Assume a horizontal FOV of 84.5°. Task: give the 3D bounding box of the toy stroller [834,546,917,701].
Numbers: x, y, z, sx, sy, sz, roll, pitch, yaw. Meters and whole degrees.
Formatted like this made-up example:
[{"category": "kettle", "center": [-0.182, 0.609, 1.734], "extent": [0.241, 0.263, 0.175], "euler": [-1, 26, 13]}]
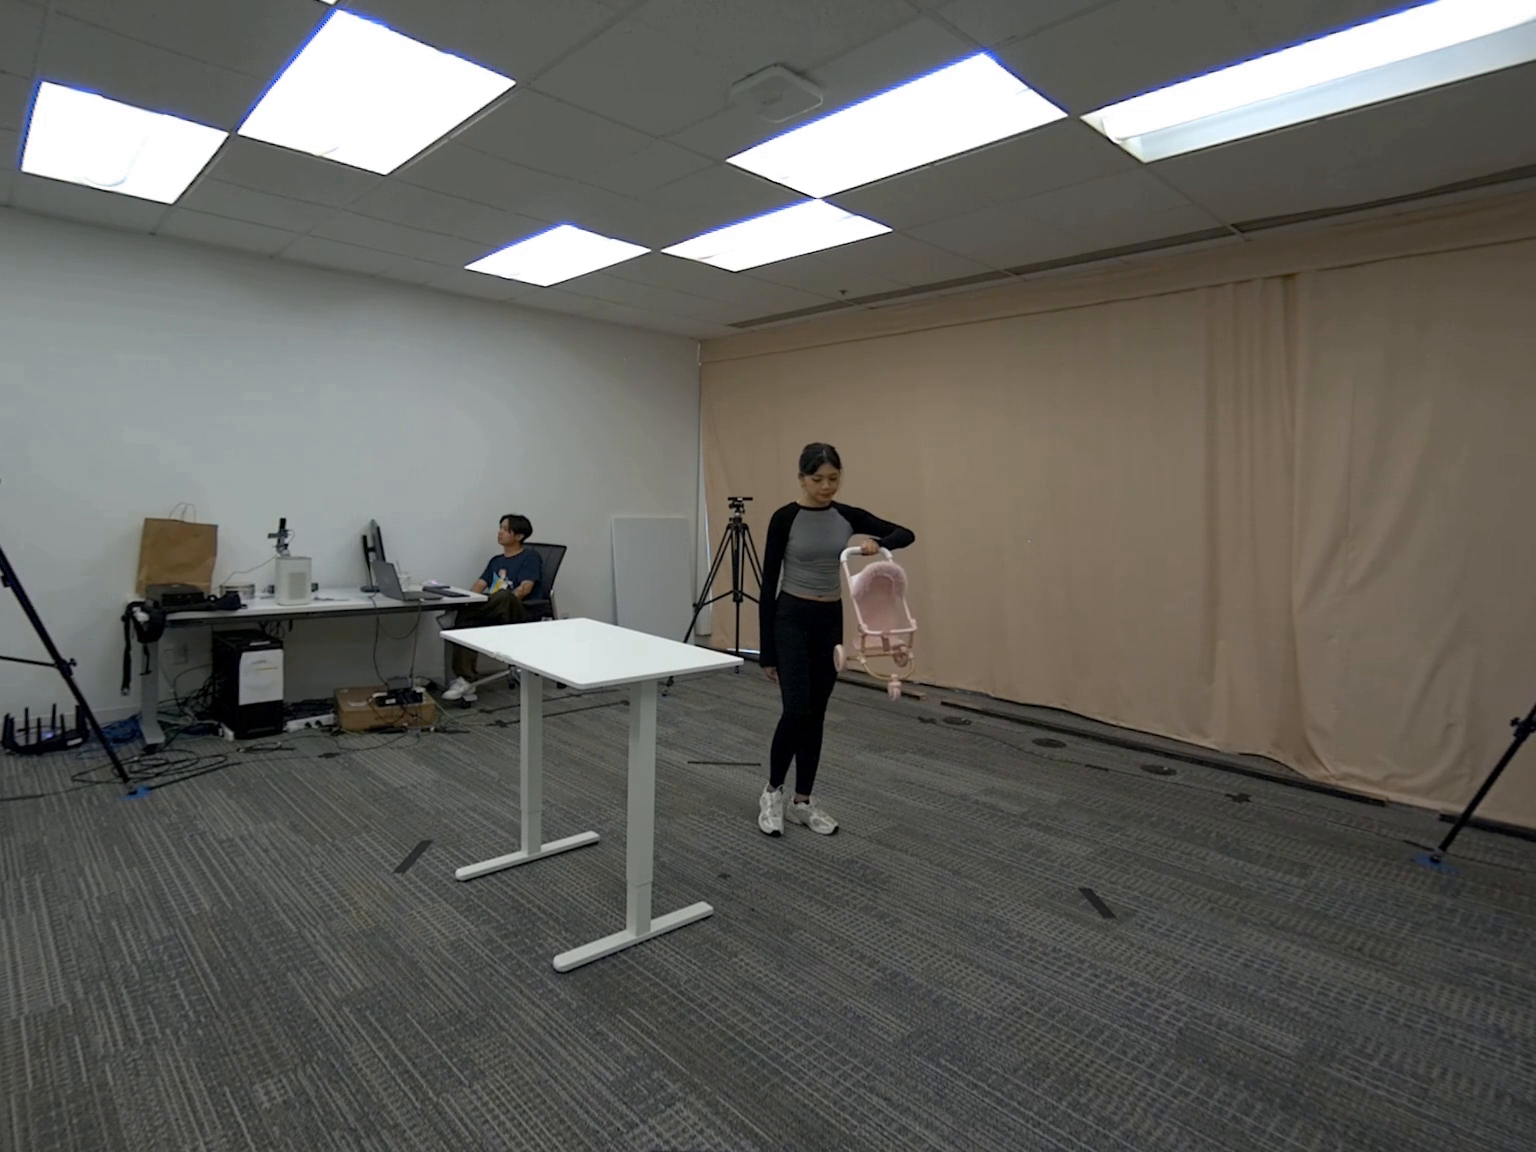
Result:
[{"category": "toy stroller", "center": [0.418, 0.176, 3.135], "extent": [0.279, 0.533, 0.345], "euler": [-3, 5, -10]}]
